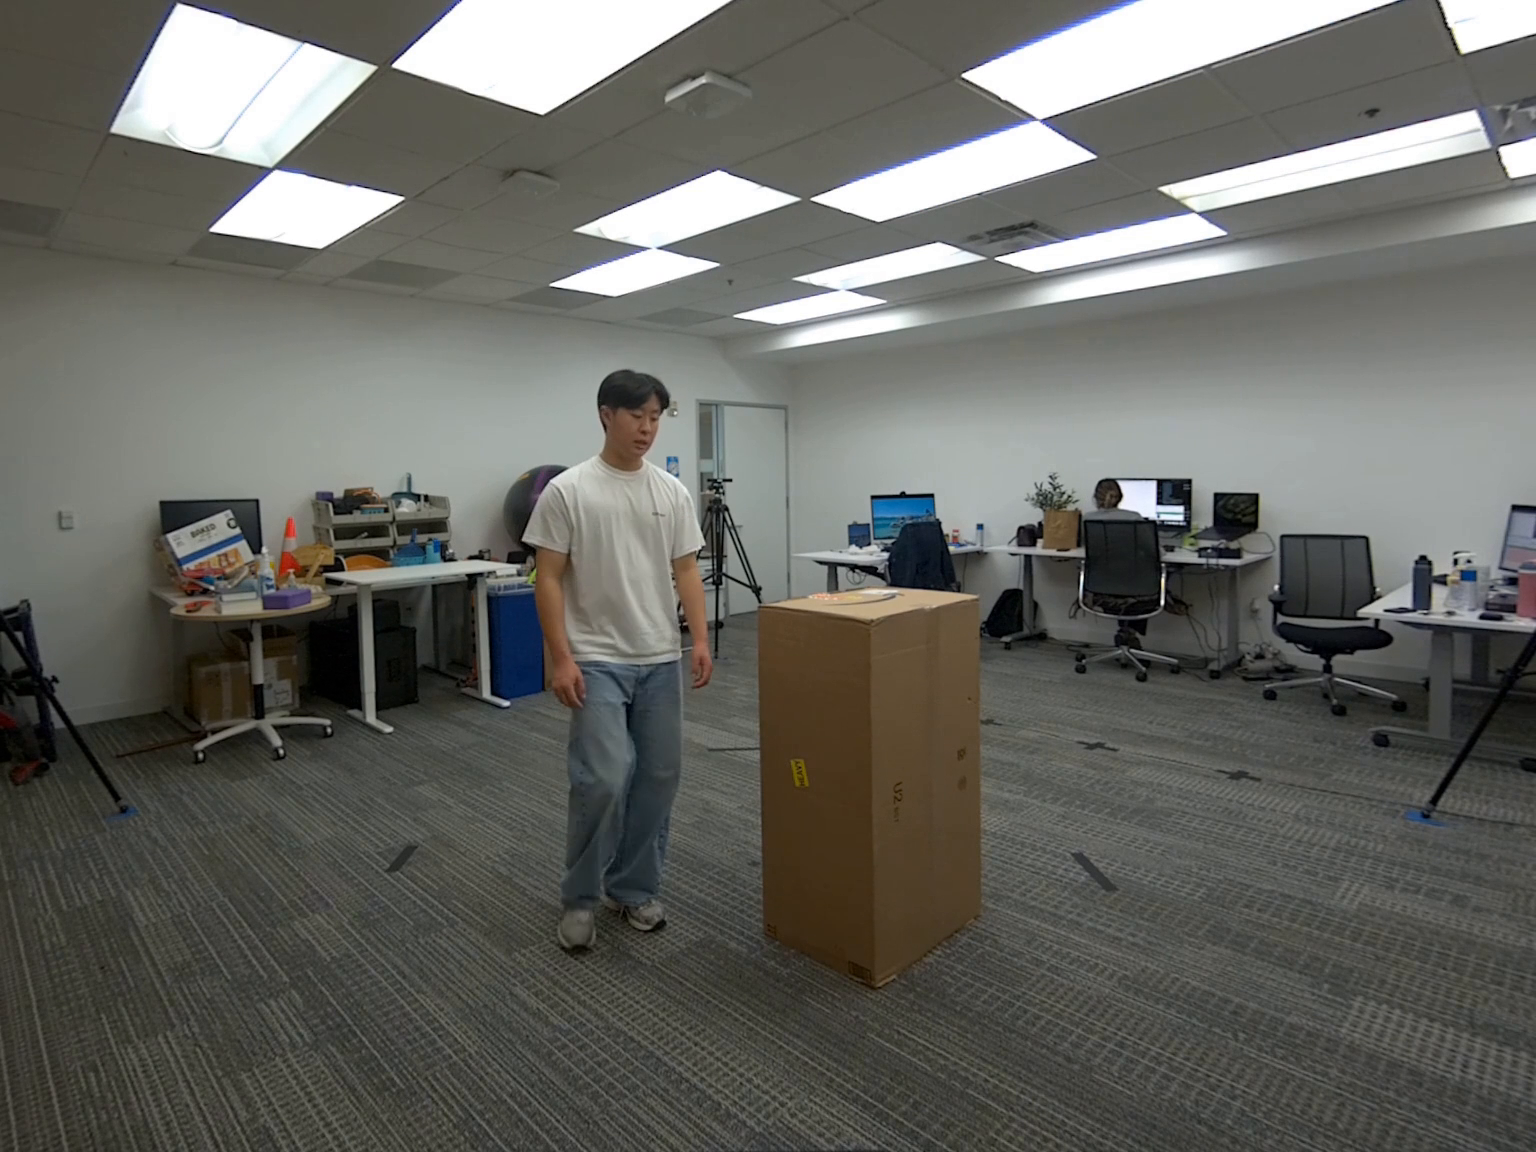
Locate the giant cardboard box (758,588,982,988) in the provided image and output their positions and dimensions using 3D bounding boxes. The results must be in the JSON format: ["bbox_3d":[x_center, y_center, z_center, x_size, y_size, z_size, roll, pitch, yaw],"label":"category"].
[{"bbox_3d":[0.324,0.584,2.648,0.439,1.022,0.562,2,5,44],"label":"giant cardboard box"}]
